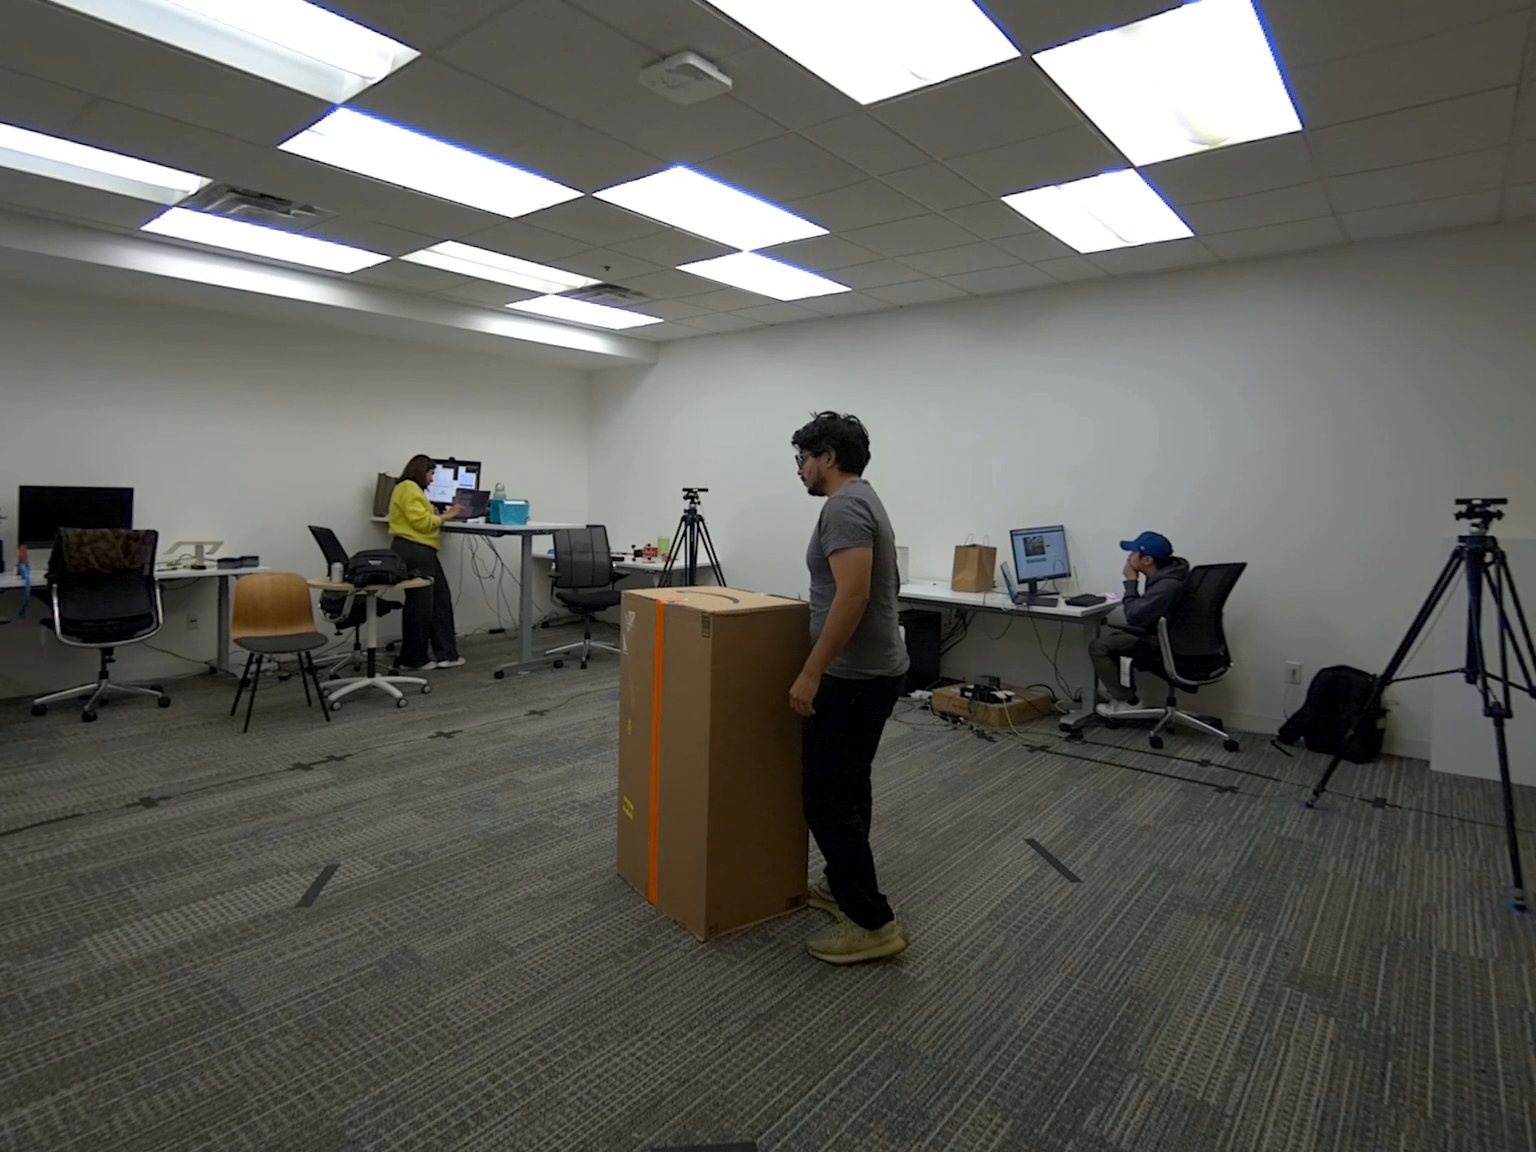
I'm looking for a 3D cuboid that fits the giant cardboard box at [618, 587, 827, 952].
[{"bbox_3d":[-0.207,0.580,2.926,0.433,1.025,0.603,0,3,-38],"label":"giant cardboard box"}]
